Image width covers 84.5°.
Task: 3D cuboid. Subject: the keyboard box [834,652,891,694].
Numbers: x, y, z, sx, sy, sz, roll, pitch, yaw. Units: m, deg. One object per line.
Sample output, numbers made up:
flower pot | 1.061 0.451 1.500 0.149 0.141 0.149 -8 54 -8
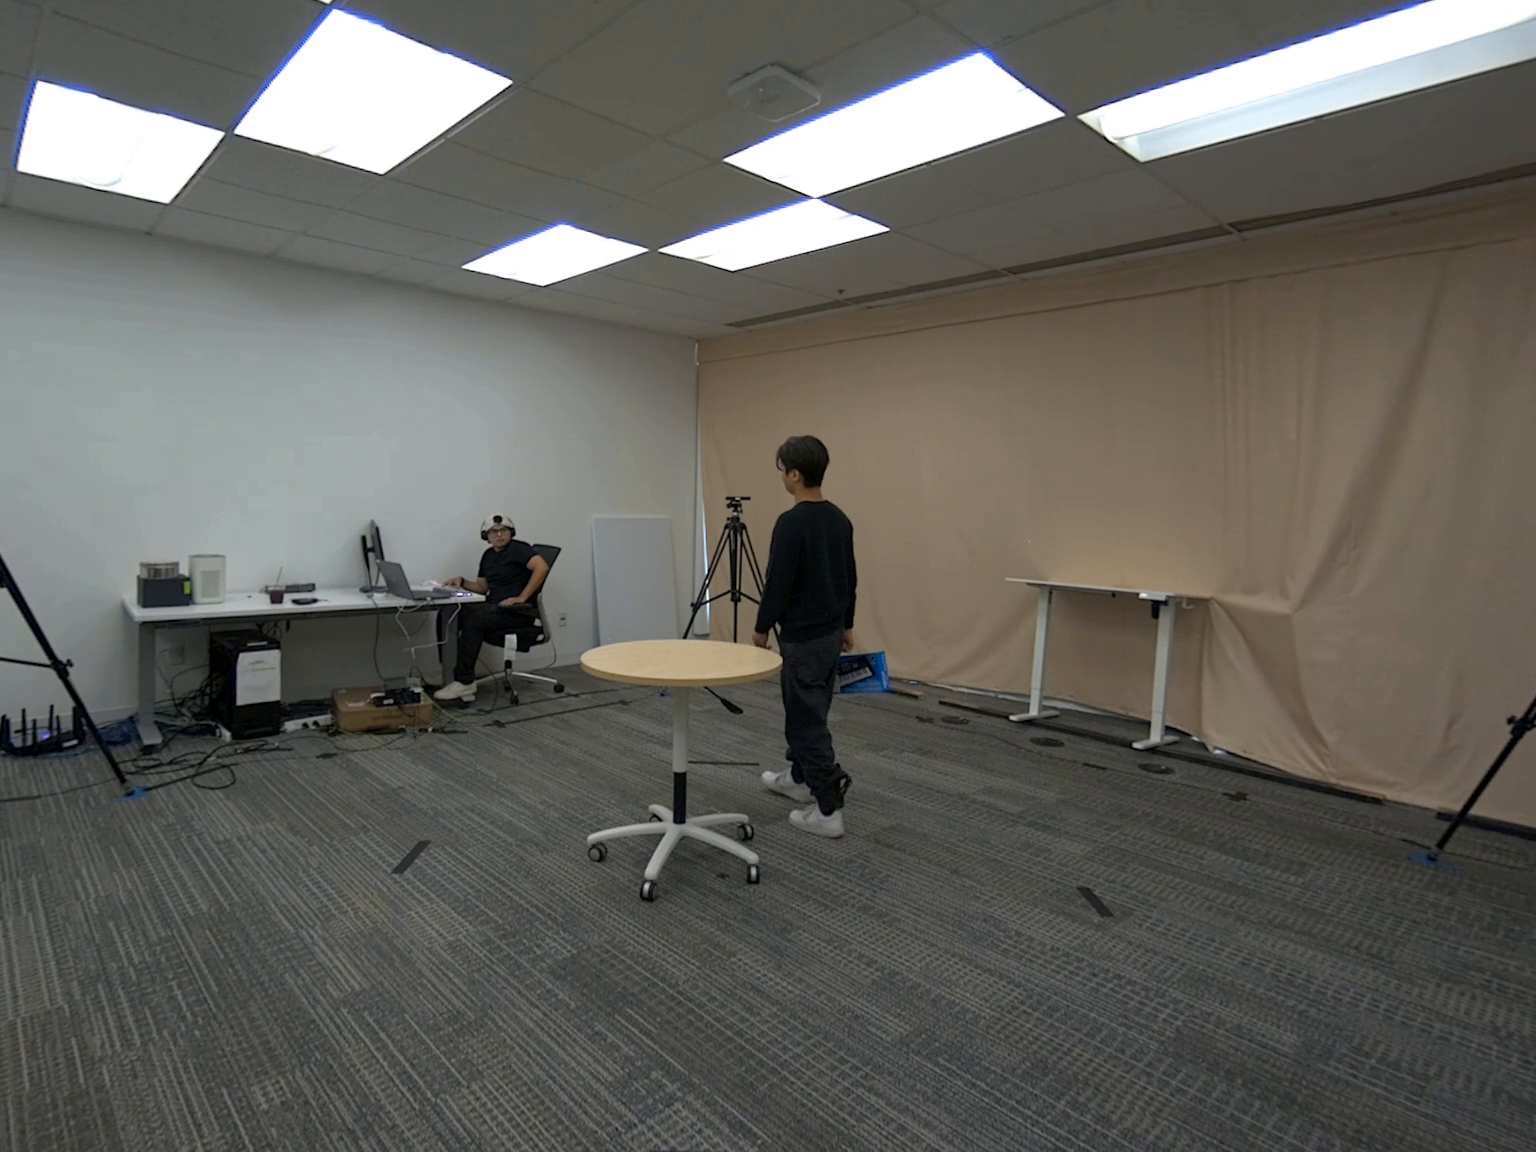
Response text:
keyboard box | 0.337 0.450 3.857 0.445 0.177 0.058 -12 -9 44
